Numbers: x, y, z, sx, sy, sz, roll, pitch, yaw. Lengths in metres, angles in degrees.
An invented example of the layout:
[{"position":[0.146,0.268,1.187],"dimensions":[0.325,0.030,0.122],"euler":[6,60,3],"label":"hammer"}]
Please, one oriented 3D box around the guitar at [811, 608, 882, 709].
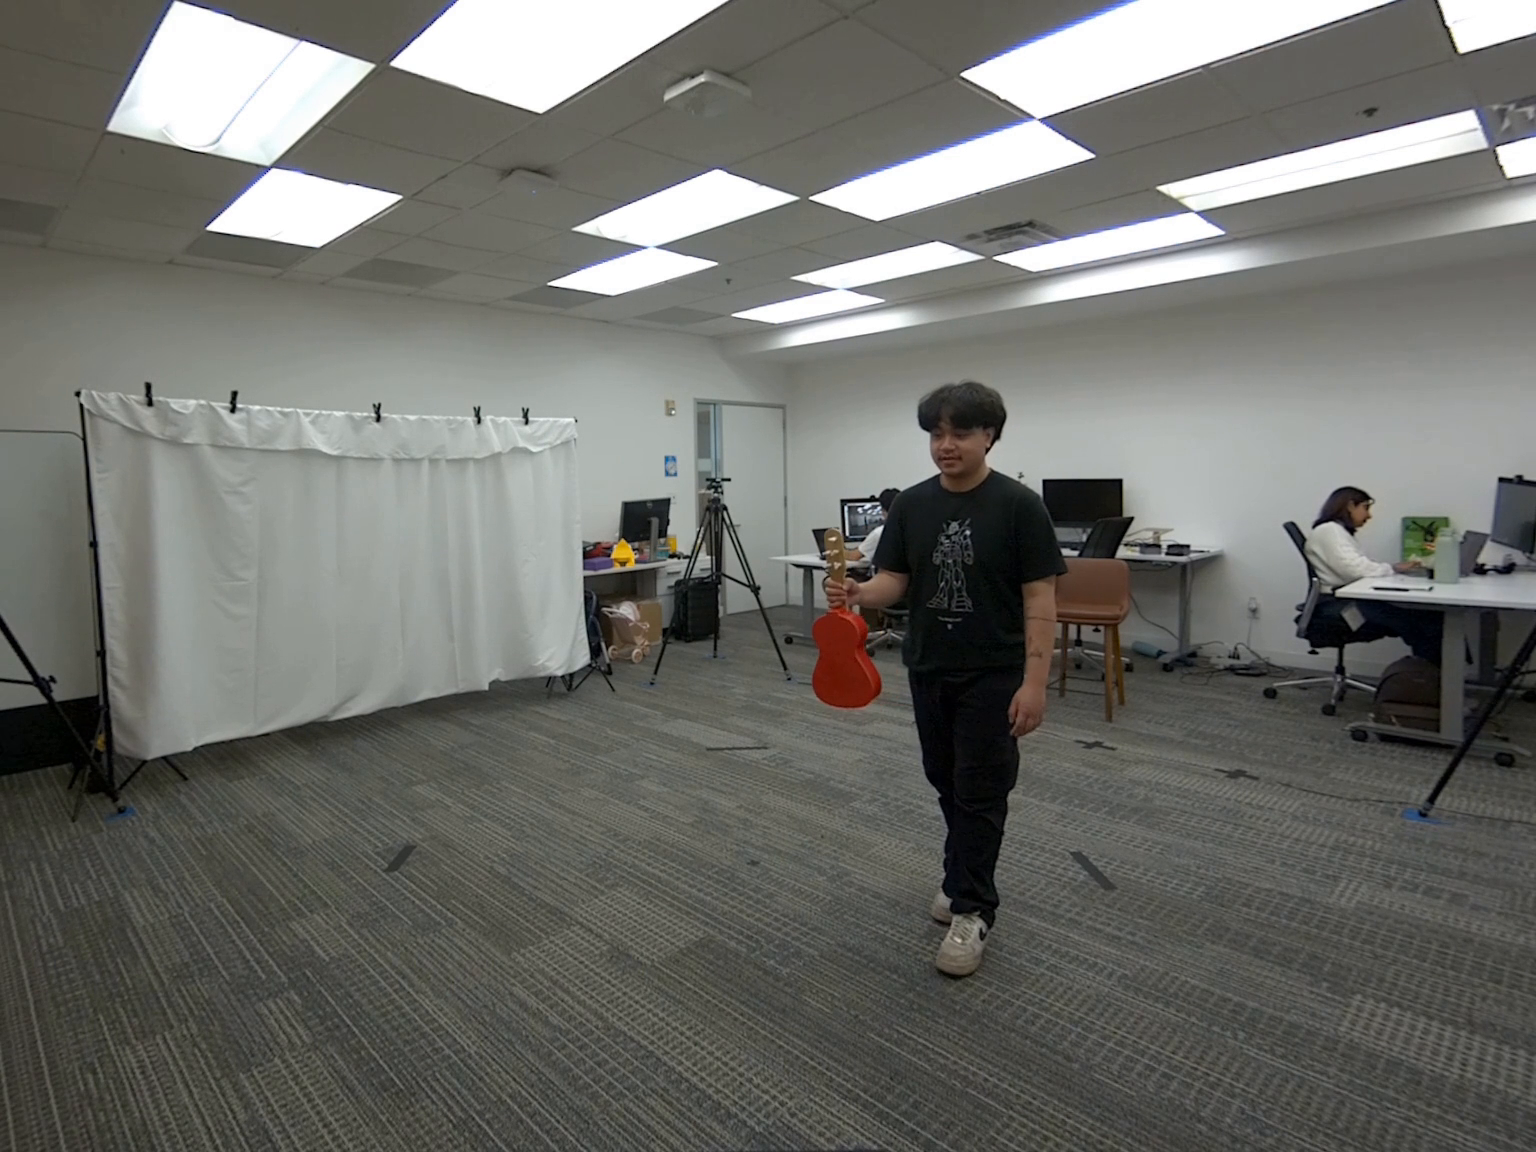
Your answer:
[{"position":[0.185,0.122,2.418],"dimensions":[0.197,0.498,0.069],"euler":[-12,0,38],"label":"guitar"}]
